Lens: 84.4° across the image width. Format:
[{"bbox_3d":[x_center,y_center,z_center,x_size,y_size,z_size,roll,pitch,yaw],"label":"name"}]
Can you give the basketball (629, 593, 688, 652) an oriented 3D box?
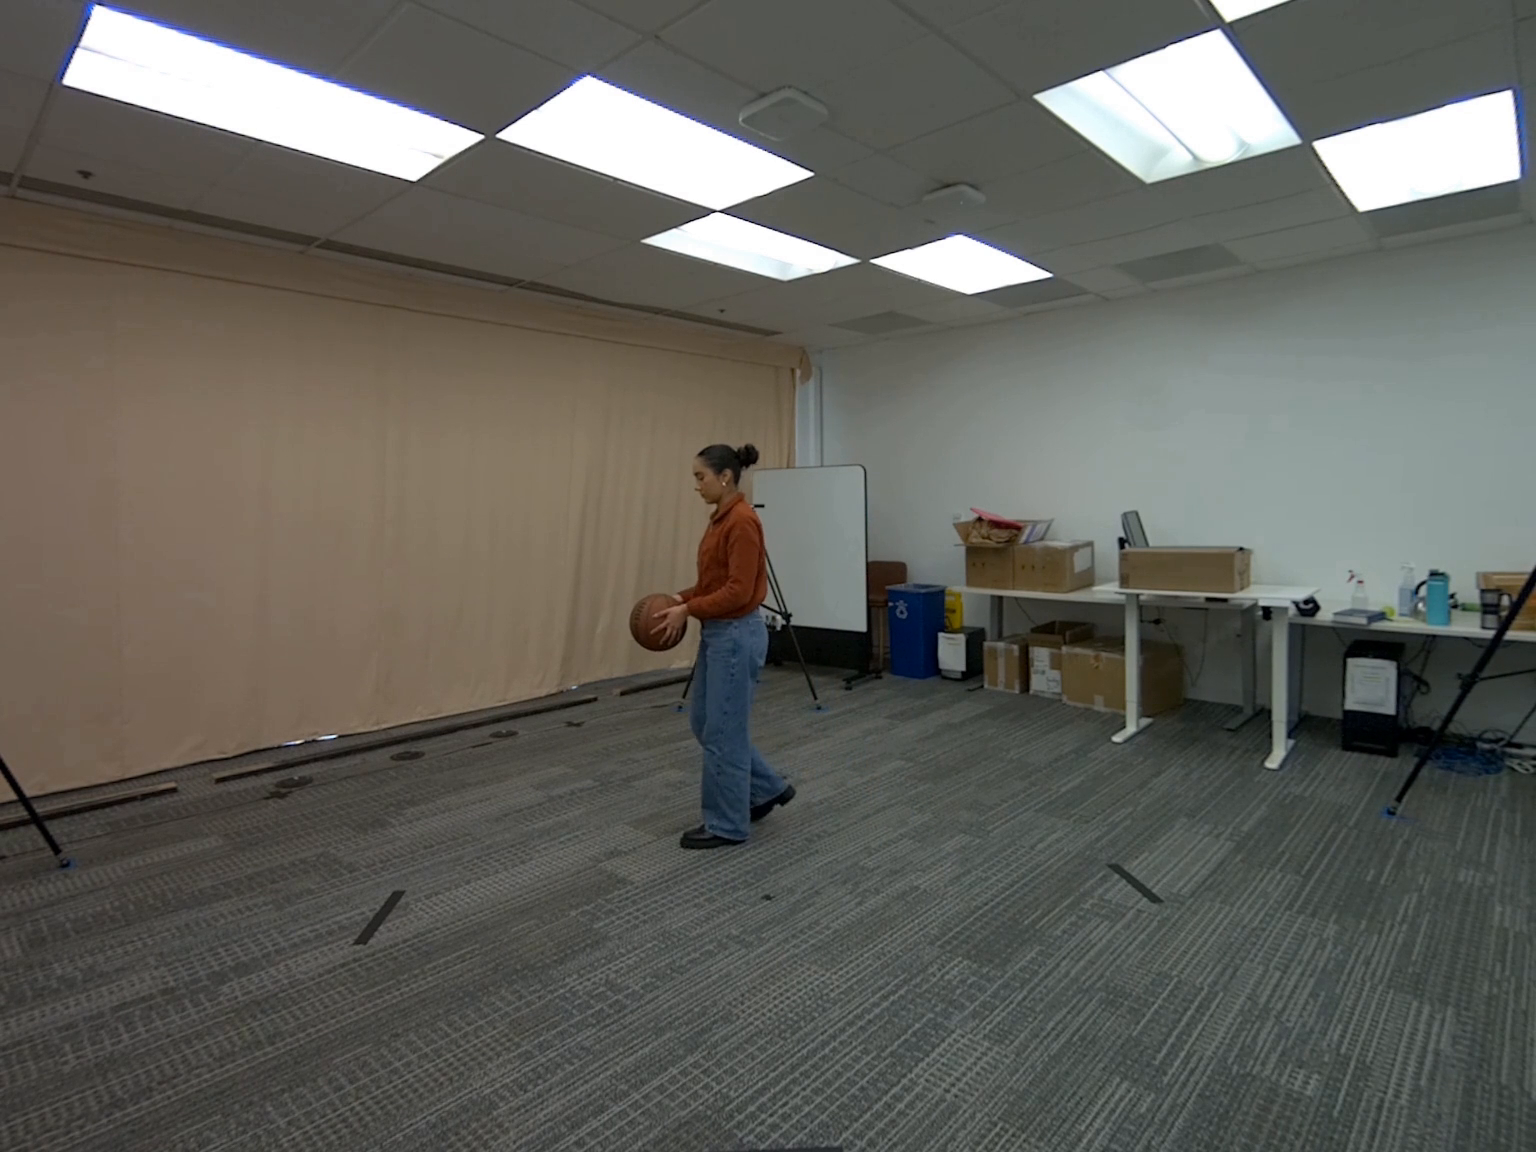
[{"bbox_3d":[-0.432,0.188,3.437,0.236,0.235,0.237,-1,4,-2],"label":"basketball"}]
